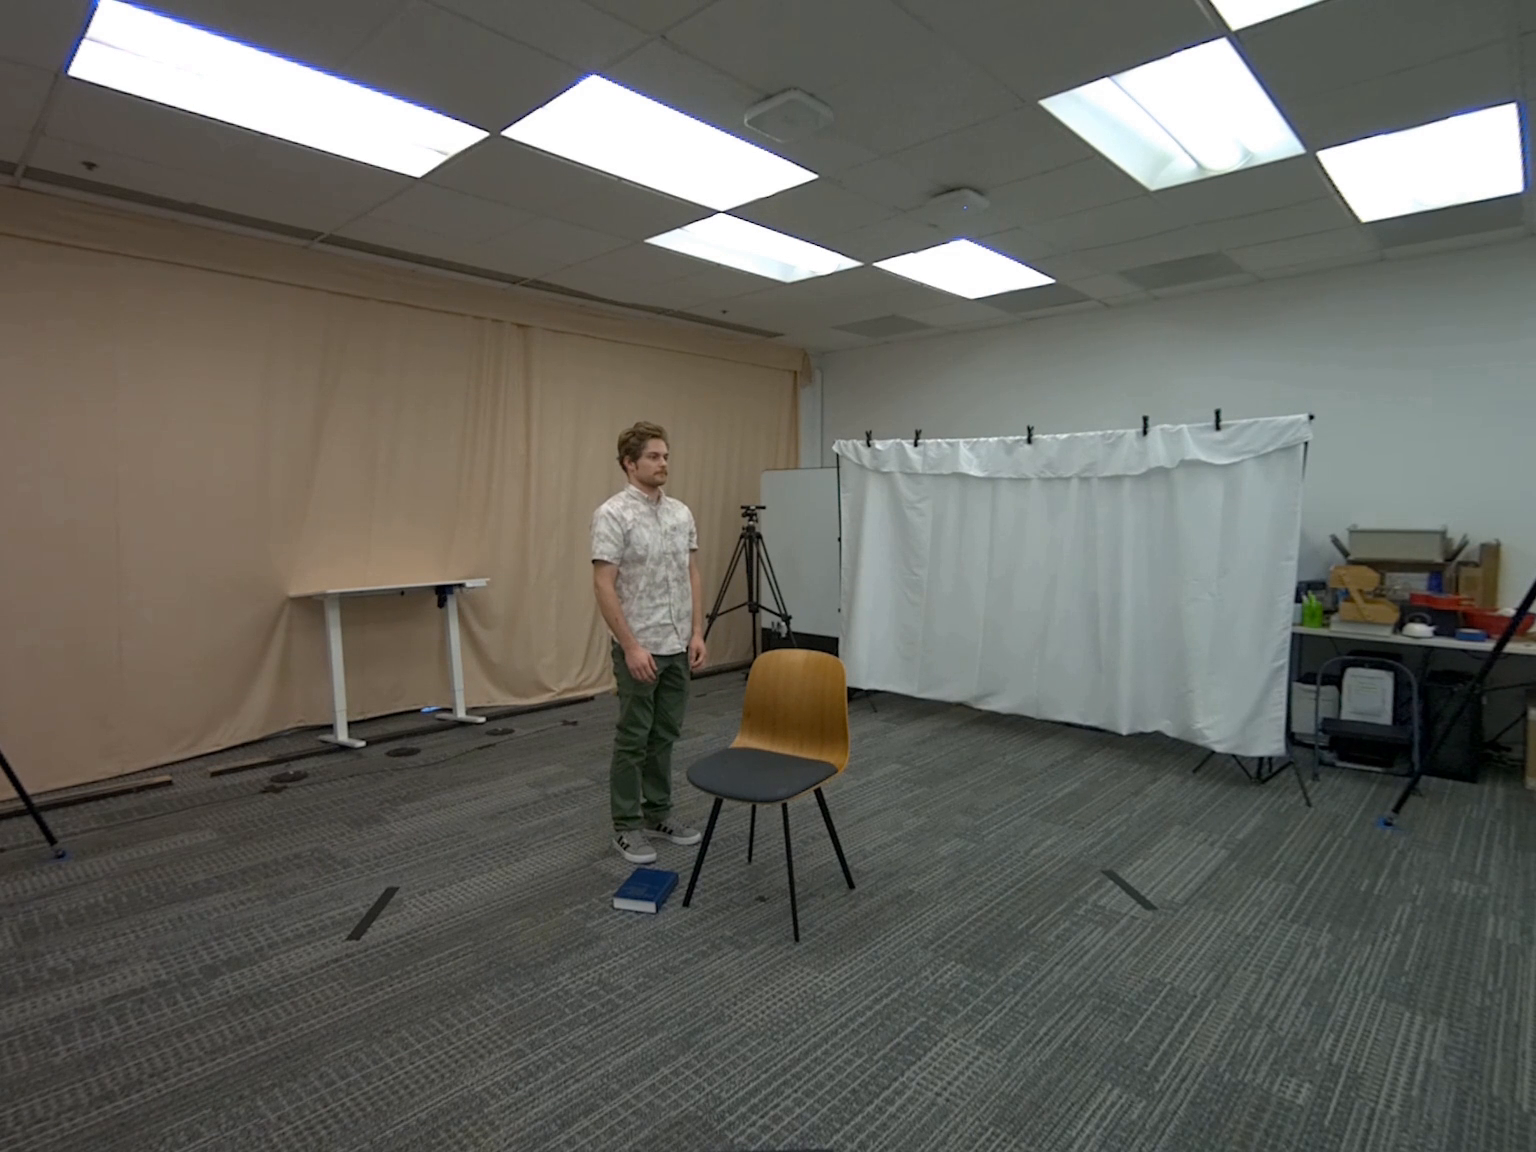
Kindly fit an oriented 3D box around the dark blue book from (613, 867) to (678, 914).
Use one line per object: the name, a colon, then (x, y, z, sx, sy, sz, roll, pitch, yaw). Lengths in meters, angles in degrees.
dark blue book: (-0.437, 1.117, 3.010, 0.166, 0.045, 0.242, 0, 5, 14)
